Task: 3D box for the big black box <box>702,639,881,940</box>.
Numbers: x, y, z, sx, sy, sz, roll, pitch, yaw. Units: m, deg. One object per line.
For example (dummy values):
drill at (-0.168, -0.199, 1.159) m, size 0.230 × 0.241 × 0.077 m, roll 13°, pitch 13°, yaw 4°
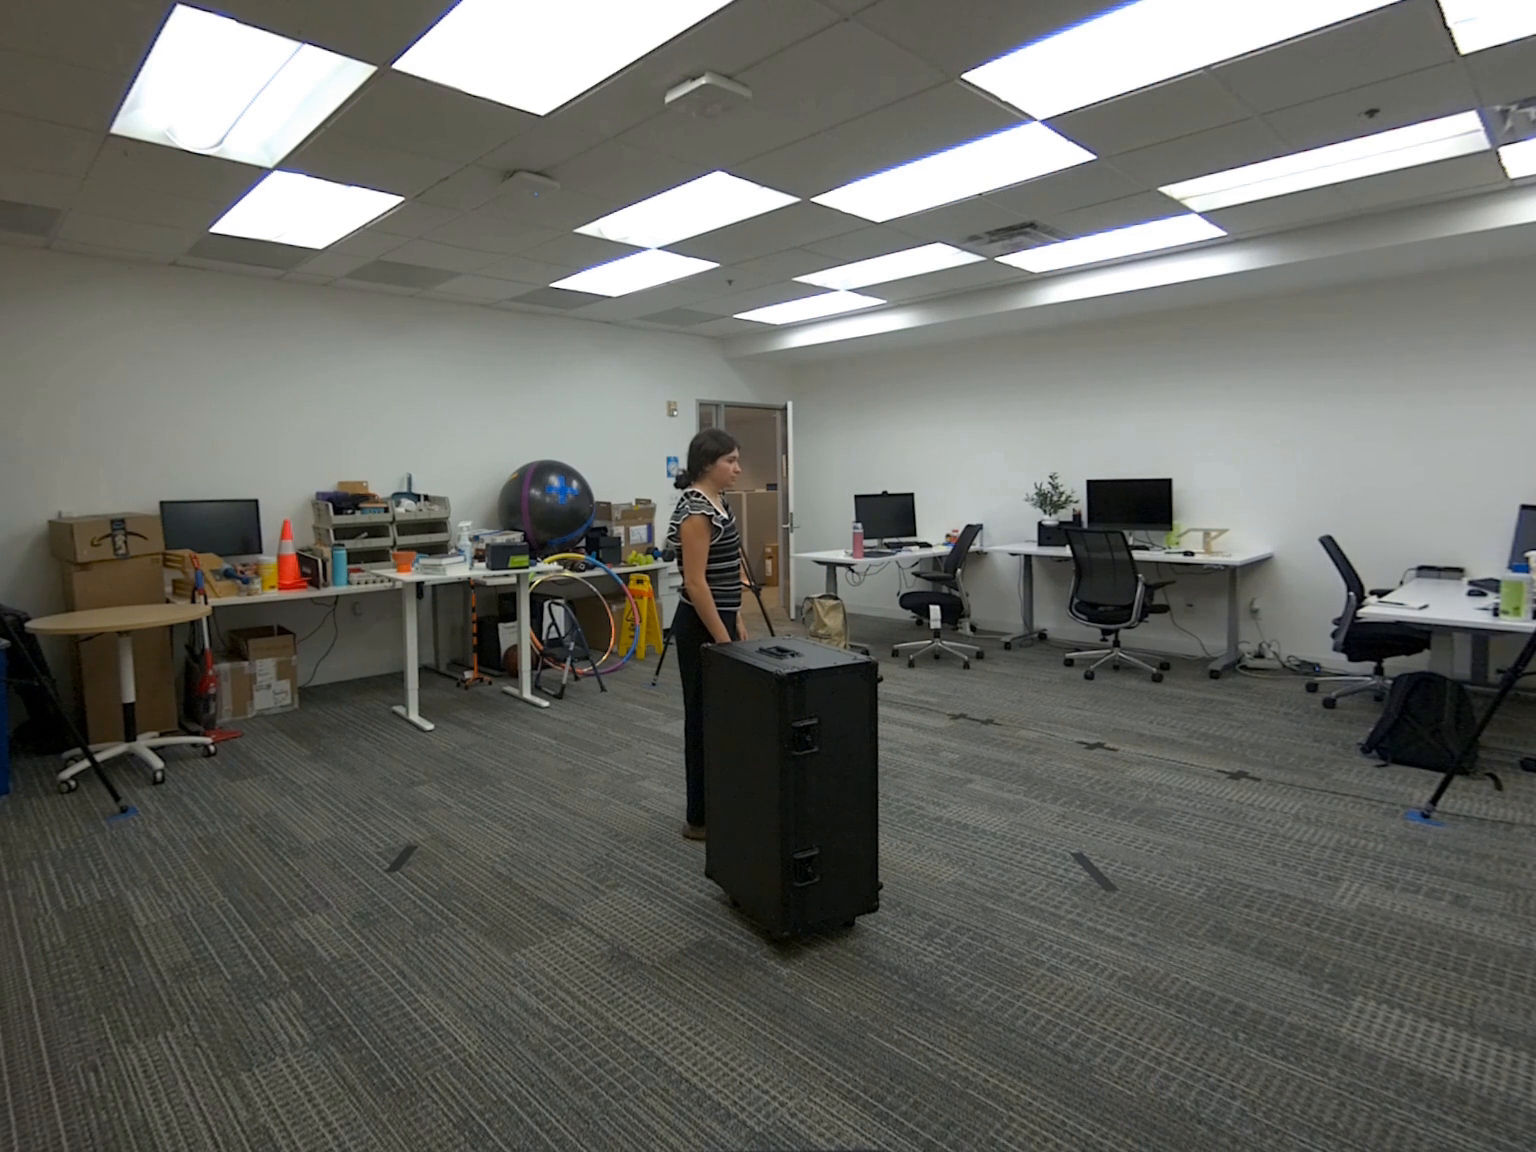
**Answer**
big black box at (0.069, 0.662, 2.724) m, size 0.387 × 0.859 × 0.535 m, roll -2°, pitch 4°, yaw -29°
